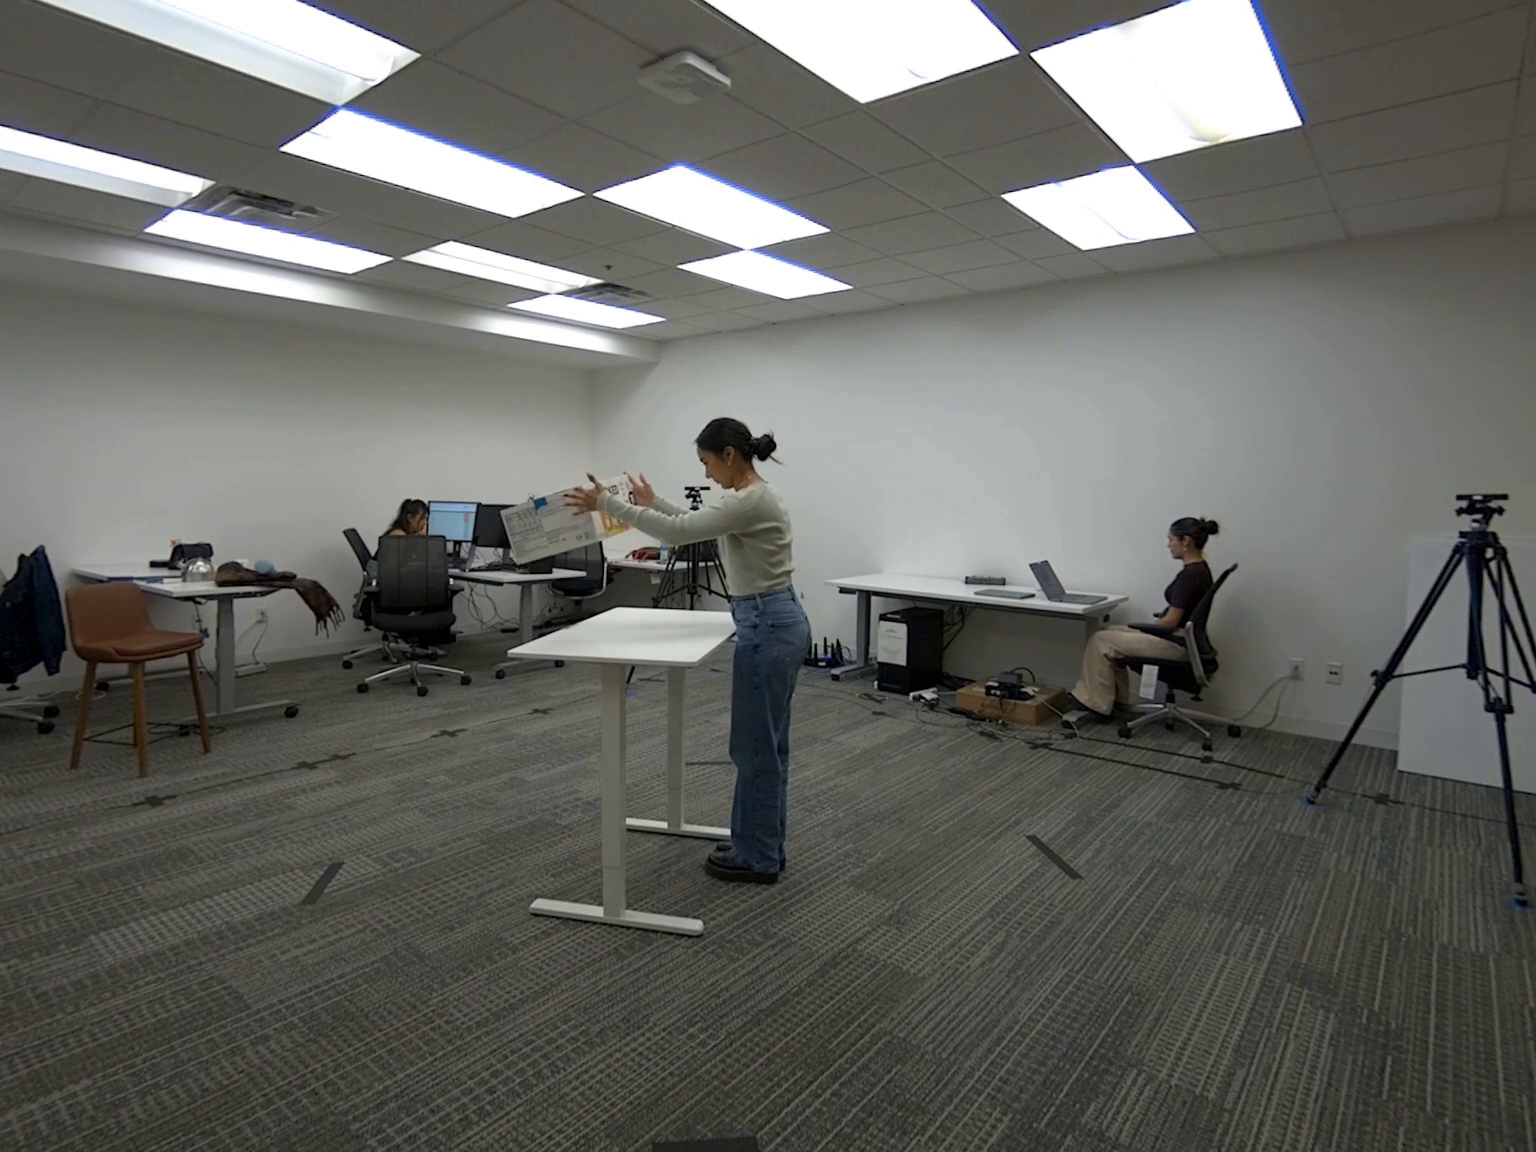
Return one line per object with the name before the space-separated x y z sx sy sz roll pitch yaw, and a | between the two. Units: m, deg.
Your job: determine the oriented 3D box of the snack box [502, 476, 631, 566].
snack box | -0.705 -0.213 3.137 0.345 0.204 0.403 -17 8 17
